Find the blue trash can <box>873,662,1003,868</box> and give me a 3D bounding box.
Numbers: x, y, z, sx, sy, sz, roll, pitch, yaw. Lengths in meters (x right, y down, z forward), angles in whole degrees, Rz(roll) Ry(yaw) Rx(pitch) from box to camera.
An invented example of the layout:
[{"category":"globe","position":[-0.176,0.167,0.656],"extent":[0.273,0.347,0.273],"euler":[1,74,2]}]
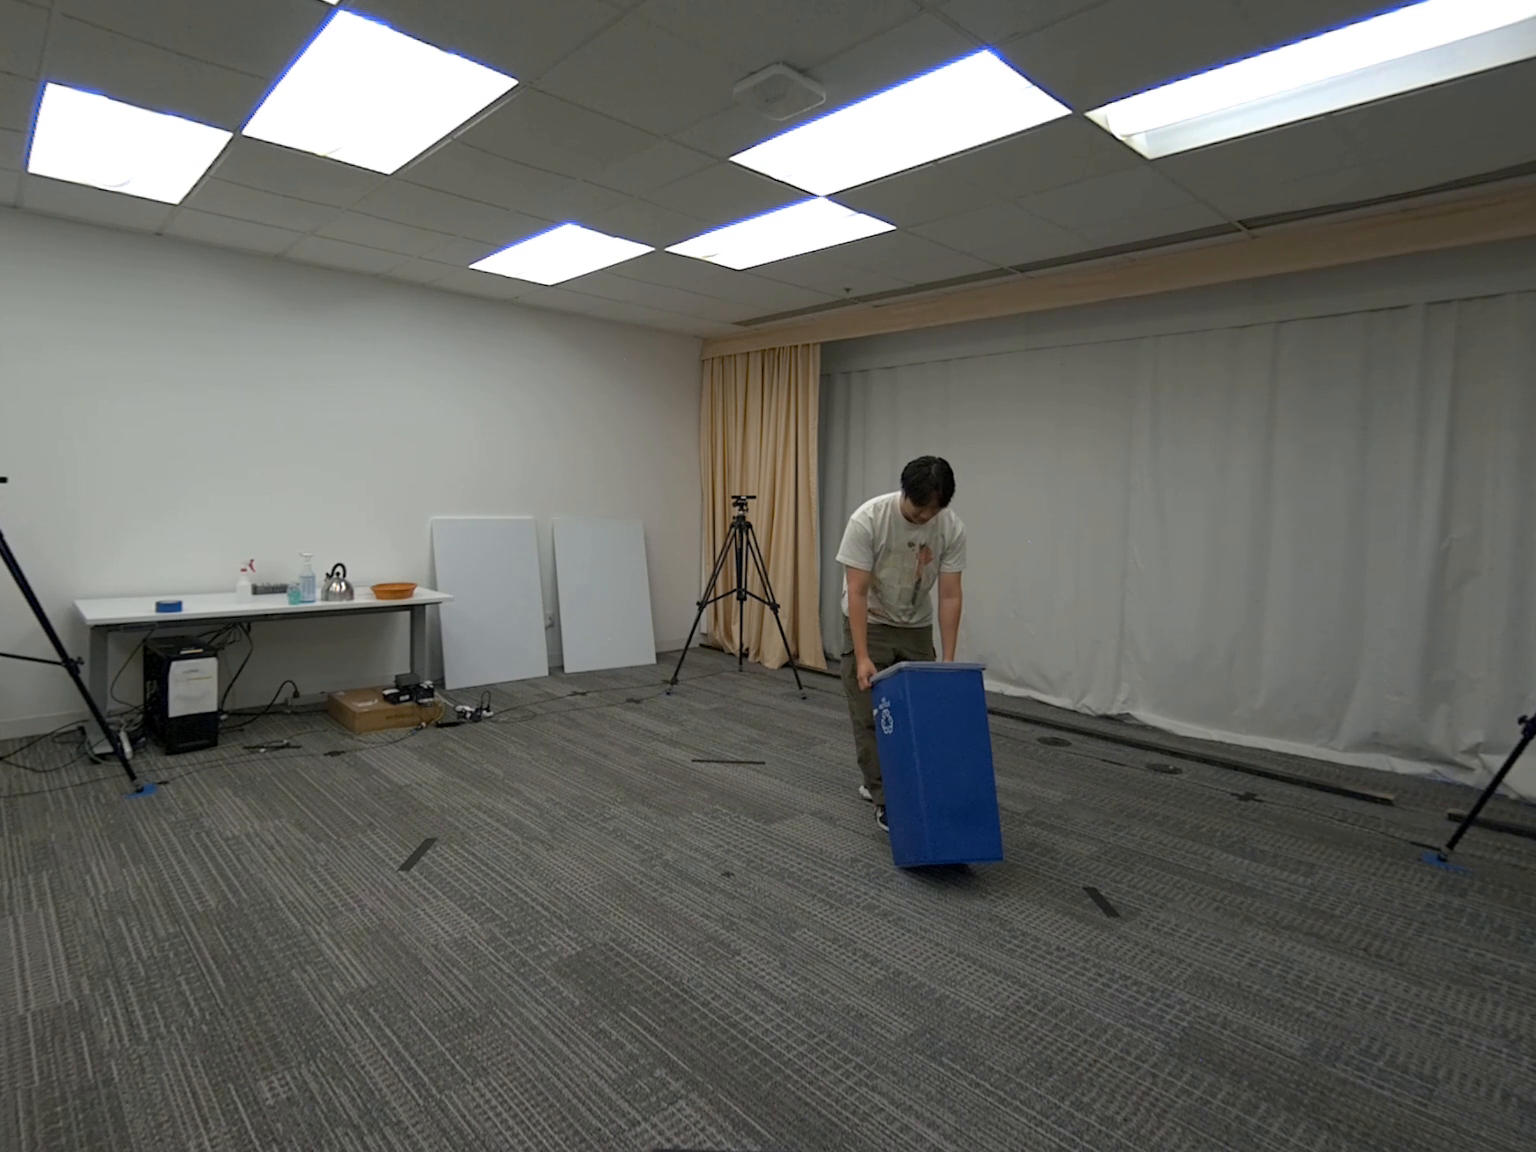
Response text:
[{"category":"blue trash can","position":[0.636,0.721,3.220],"extent":[0.373,0.725,0.373],"euler":[3,-22,-15]}]
